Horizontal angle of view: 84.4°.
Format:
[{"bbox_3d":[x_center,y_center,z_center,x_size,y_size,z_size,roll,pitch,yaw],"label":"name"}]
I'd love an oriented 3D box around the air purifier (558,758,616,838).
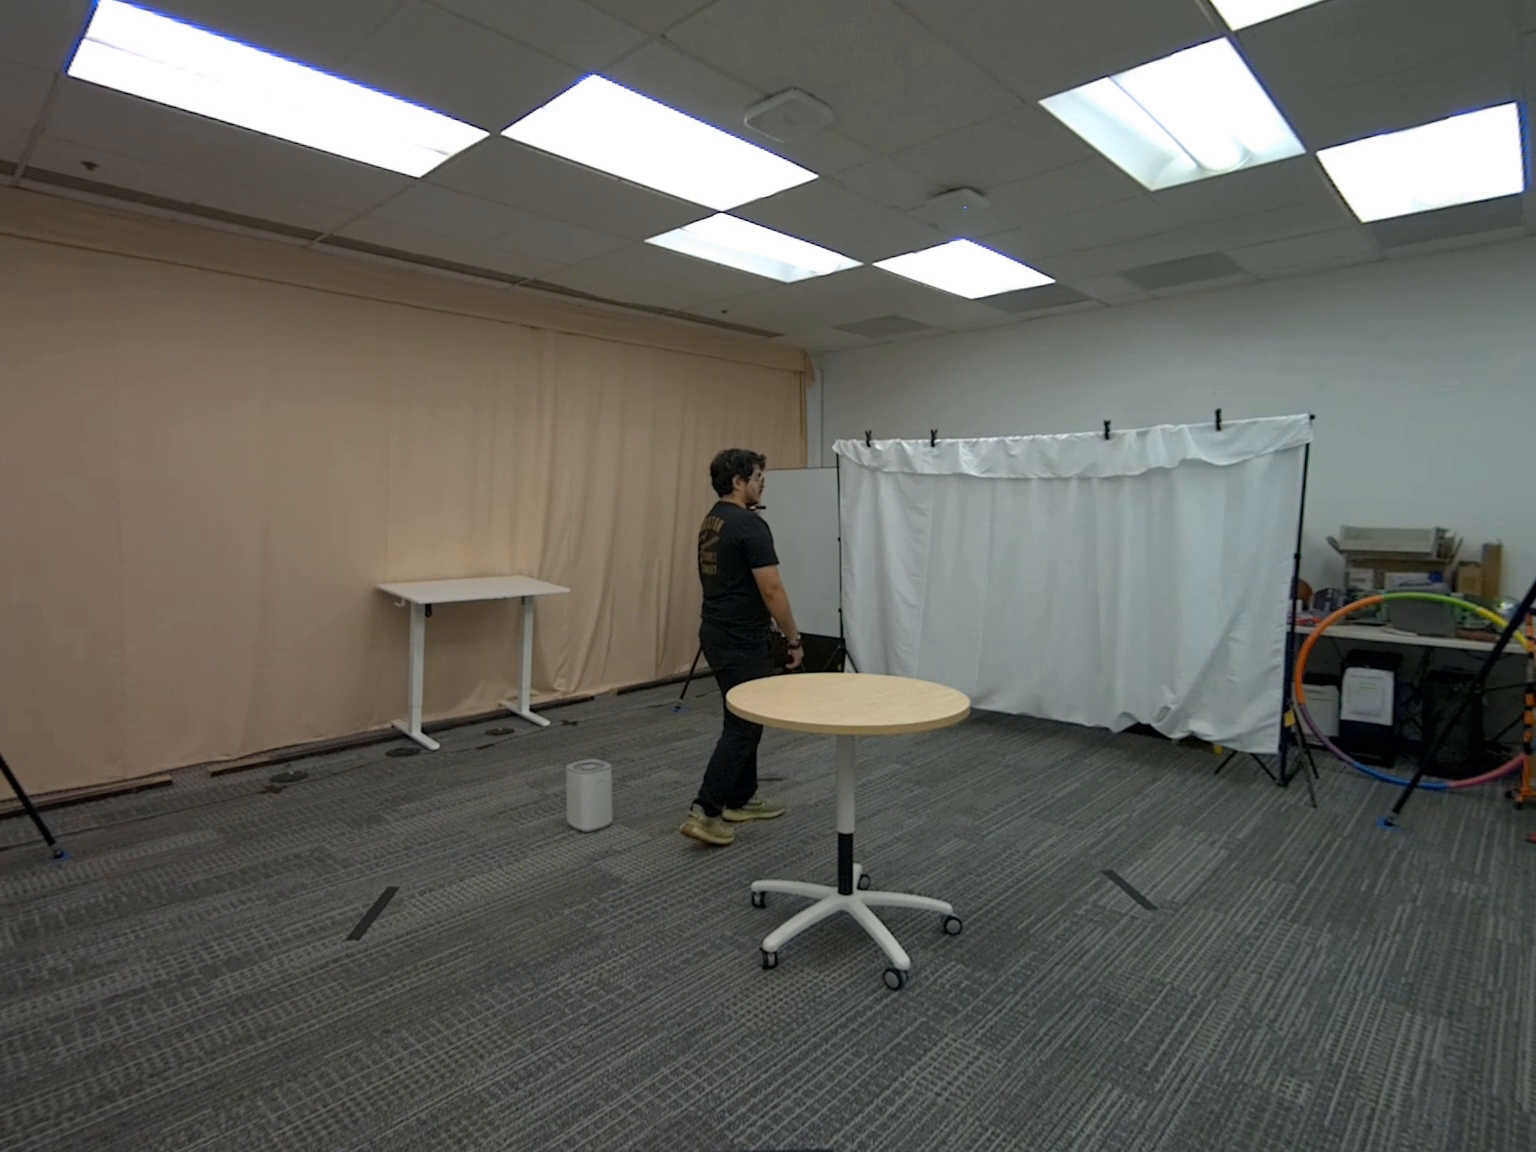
[{"bbox_3d":[-0.788,0.959,3.681,0.177,0.265,0.166,2,4,43],"label":"air purifier"}]
